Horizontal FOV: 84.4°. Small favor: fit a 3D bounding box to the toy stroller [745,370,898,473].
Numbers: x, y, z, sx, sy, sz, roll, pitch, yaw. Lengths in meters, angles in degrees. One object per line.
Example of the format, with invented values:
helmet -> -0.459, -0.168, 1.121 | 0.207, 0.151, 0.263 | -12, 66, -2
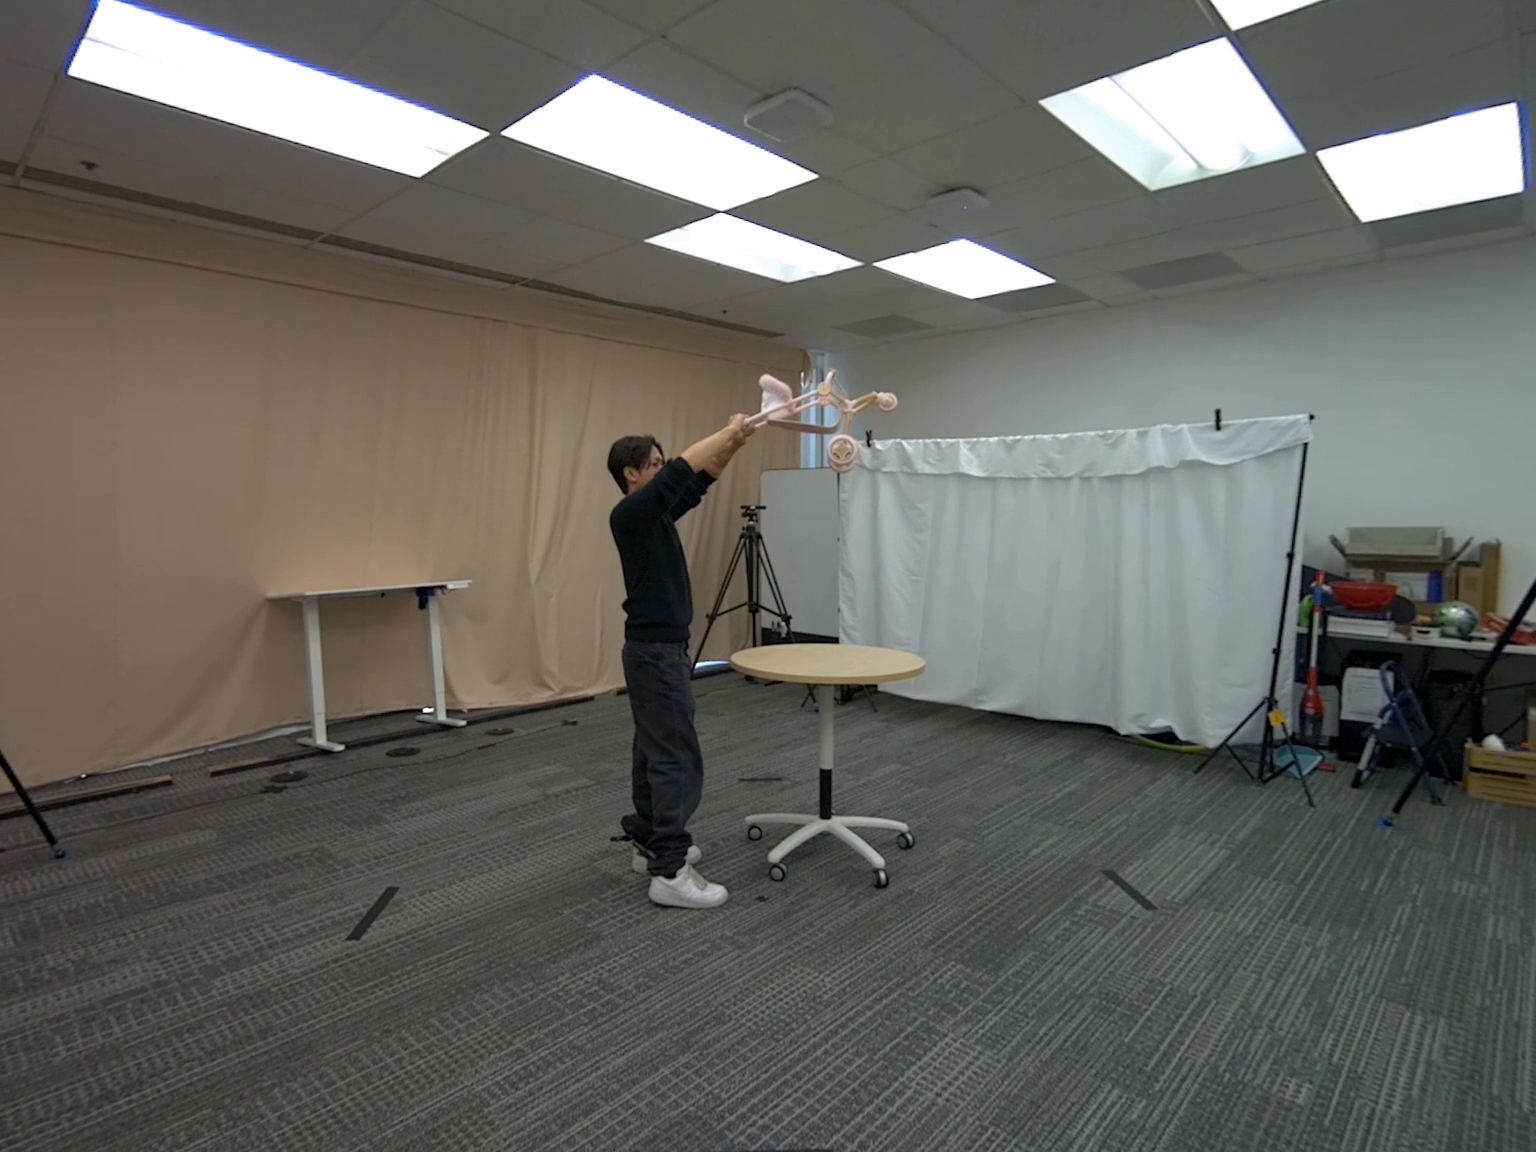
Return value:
toy stroller -> 0.190, -0.602, 3.135 | 0.541, 0.341, 0.279 | 24, 8, 8
